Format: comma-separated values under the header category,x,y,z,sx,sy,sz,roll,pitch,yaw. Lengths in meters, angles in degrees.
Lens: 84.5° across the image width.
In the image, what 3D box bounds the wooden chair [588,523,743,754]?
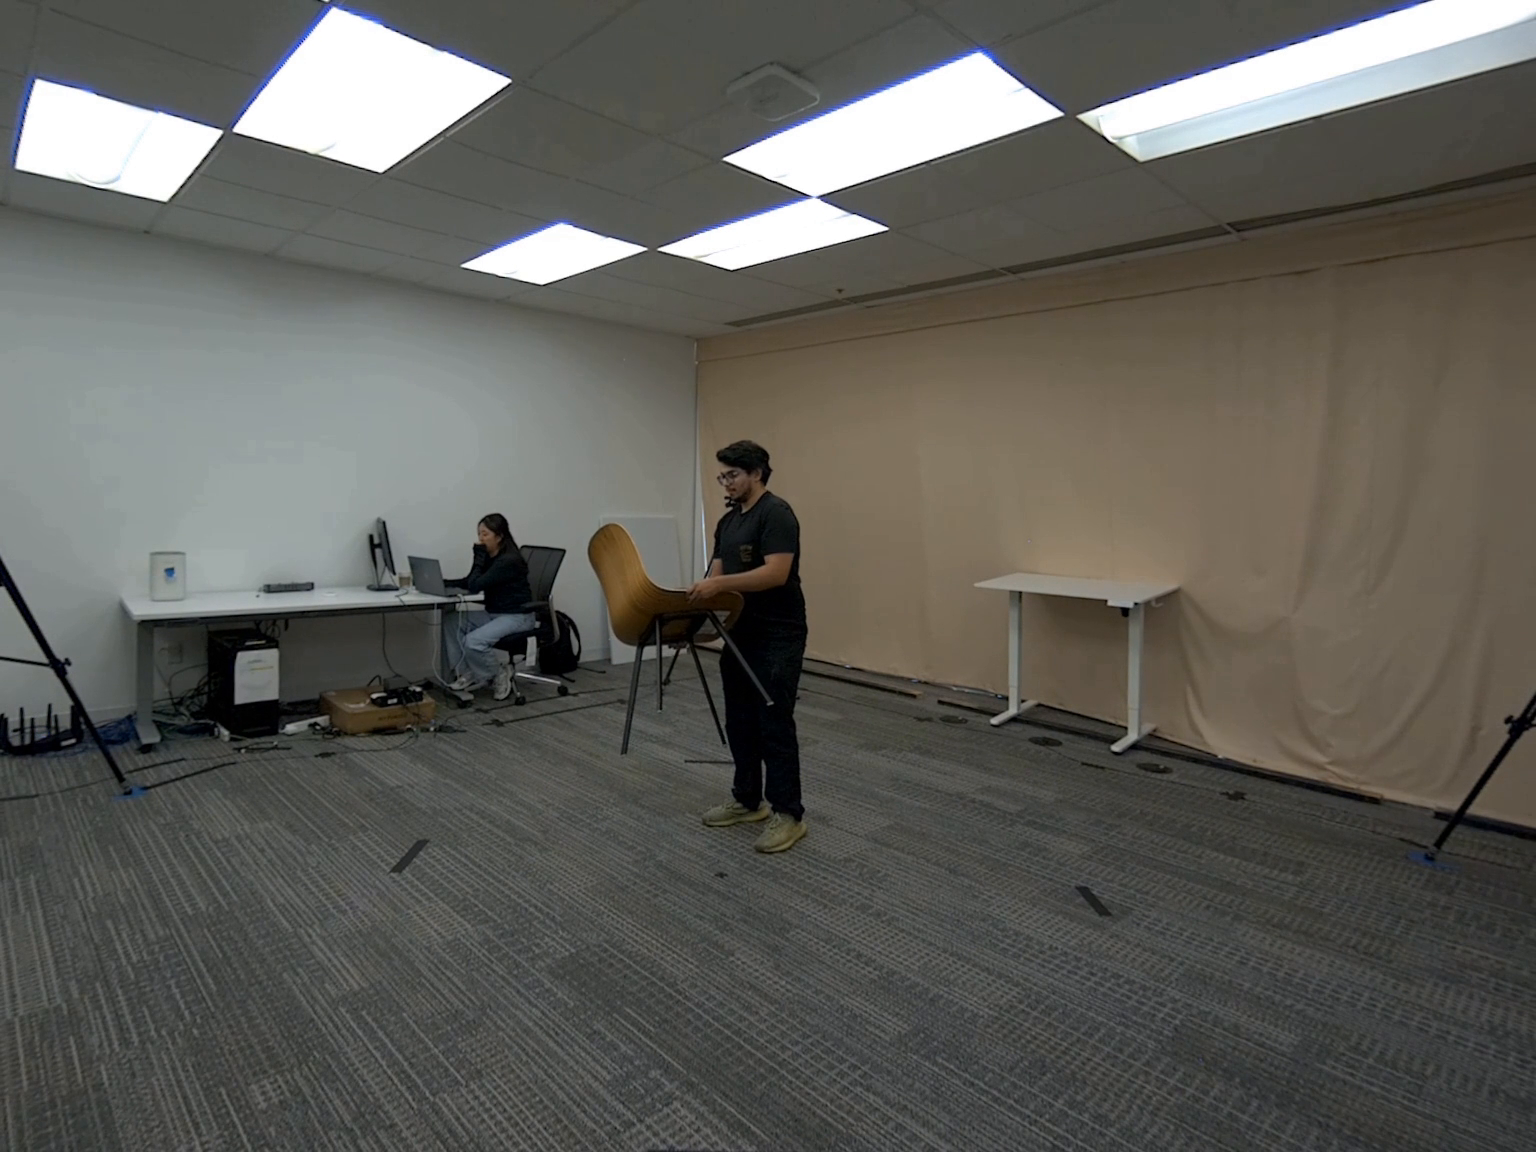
category,x,y,z,sx,sy,sz,roll,pitch,yaw
wooden chair,-0.380,0.221,3.376,0.513,0.898,0.476,-3,-31,-30
